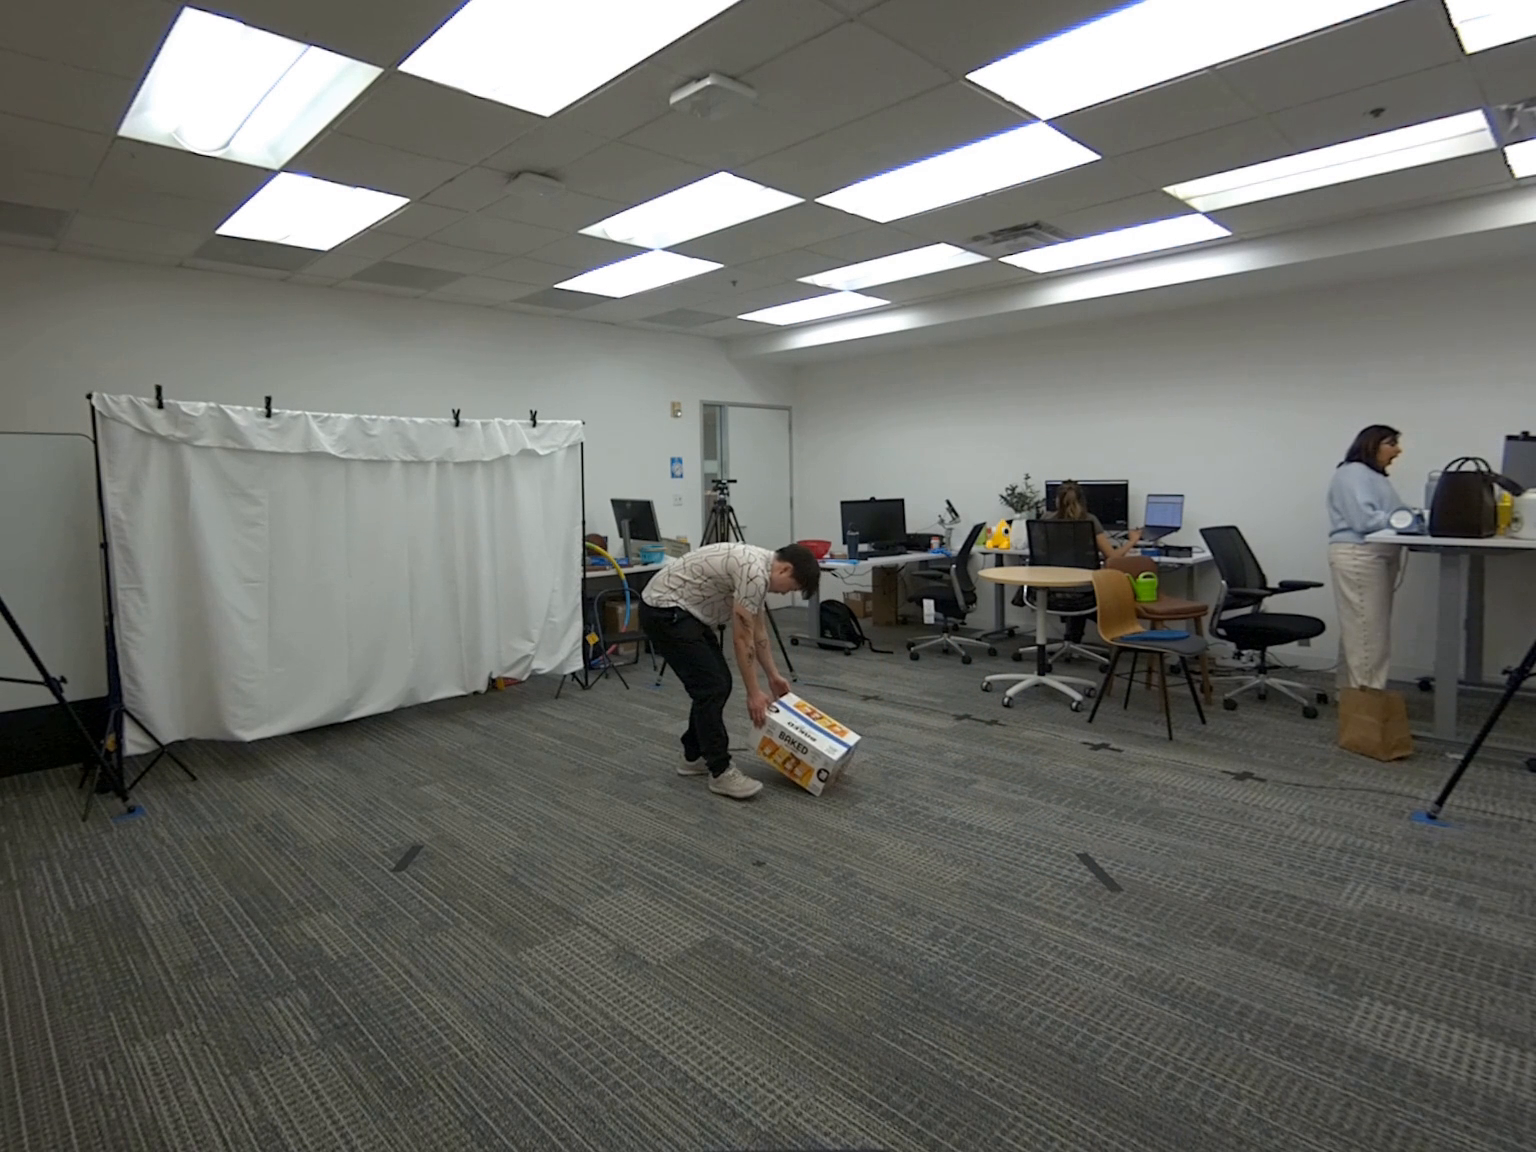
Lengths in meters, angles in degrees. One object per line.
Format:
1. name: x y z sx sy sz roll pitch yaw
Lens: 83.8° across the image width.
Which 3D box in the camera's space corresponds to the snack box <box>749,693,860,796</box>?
1. snack box: 0.162 0.768 3.947 0.416 0.204 0.334 30 17 20
